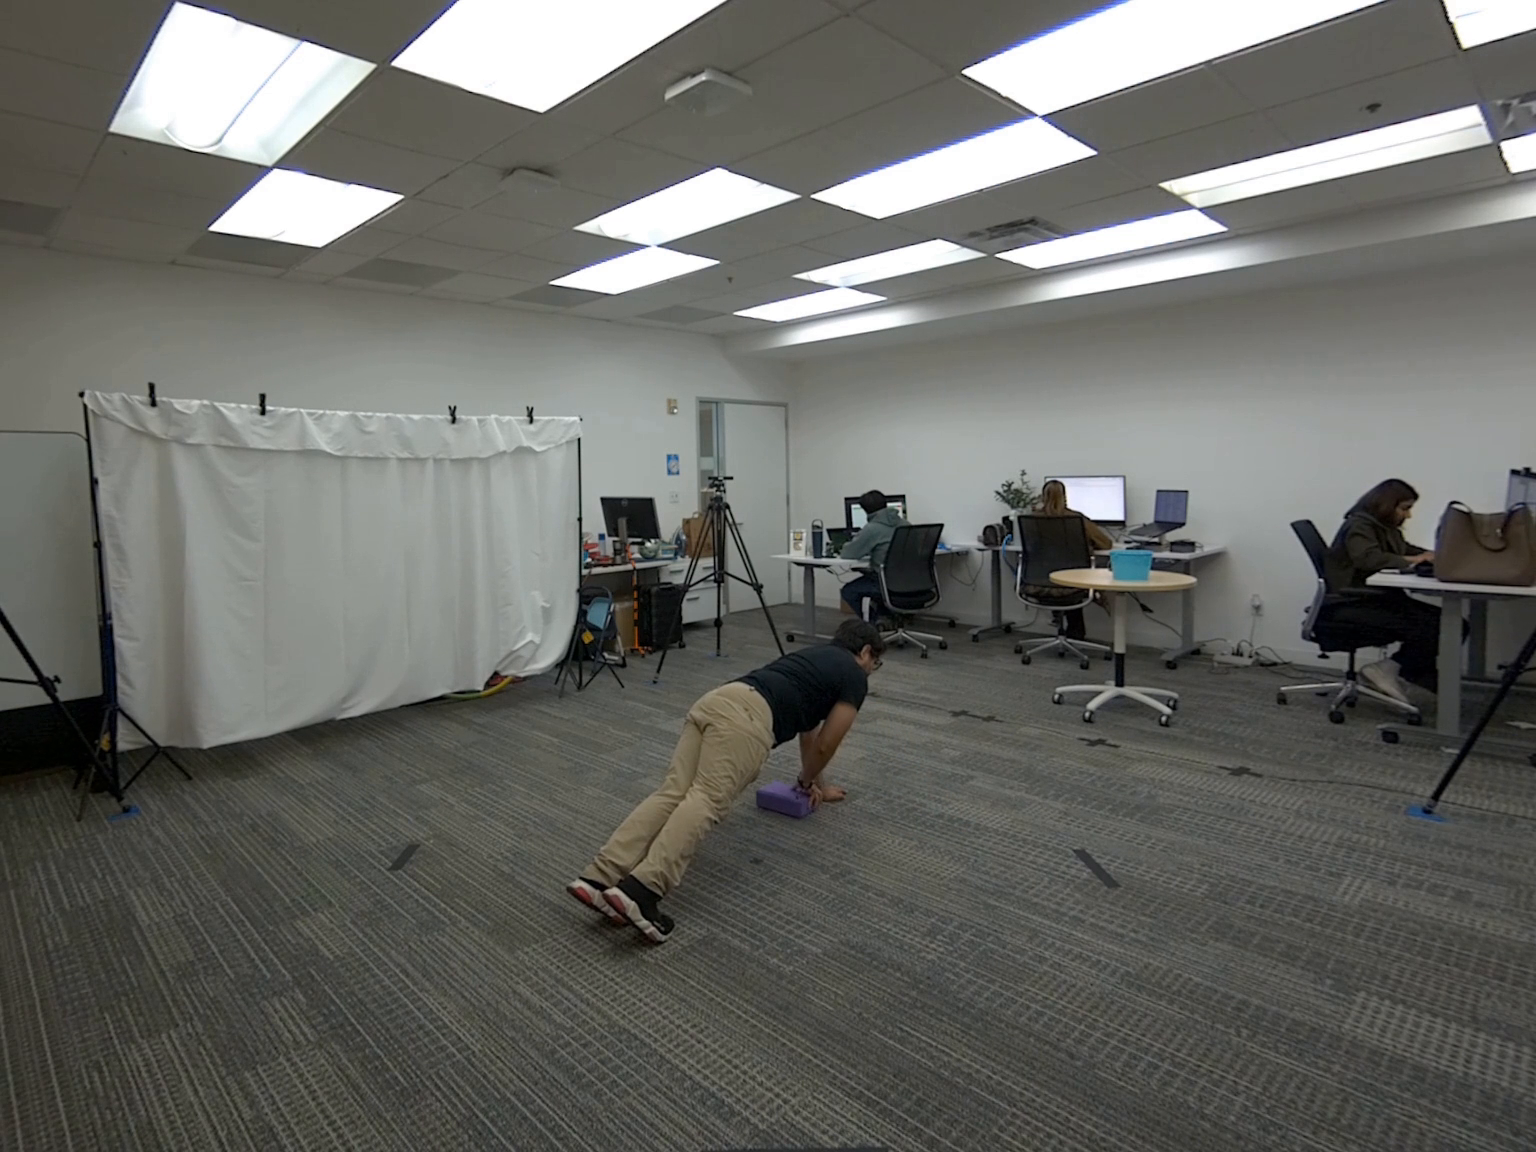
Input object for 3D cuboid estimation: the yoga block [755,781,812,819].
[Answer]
[{"bbox_3d":[0.080,0.939,3.599,0.236,0.076,0.145,5,7,38],"label":"yoga block"}]
